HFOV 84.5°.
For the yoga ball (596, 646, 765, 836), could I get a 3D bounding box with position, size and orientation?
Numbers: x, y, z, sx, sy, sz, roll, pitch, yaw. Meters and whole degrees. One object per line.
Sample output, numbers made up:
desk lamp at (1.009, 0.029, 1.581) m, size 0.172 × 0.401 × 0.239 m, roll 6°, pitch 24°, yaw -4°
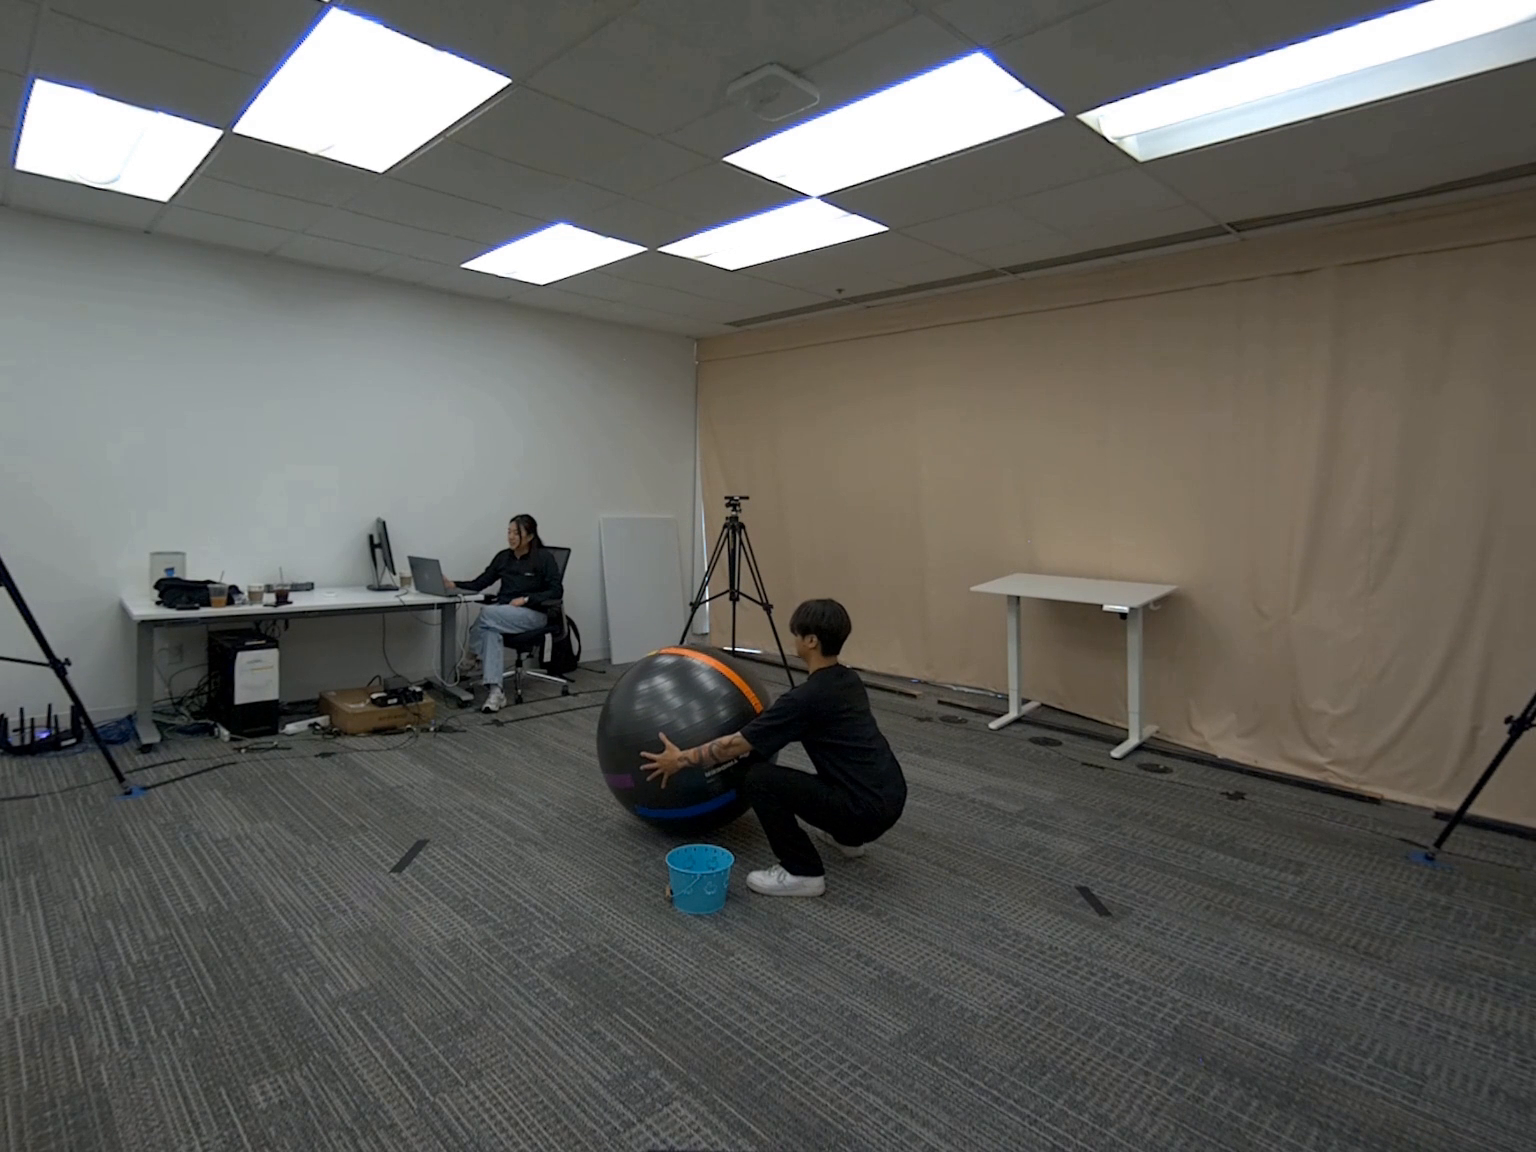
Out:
yoga ball at (-0.346, 0.682, 3.532) m, size 0.757 × 0.756 × 0.761 m, roll 1°, pitch 4°, yaw -1°
